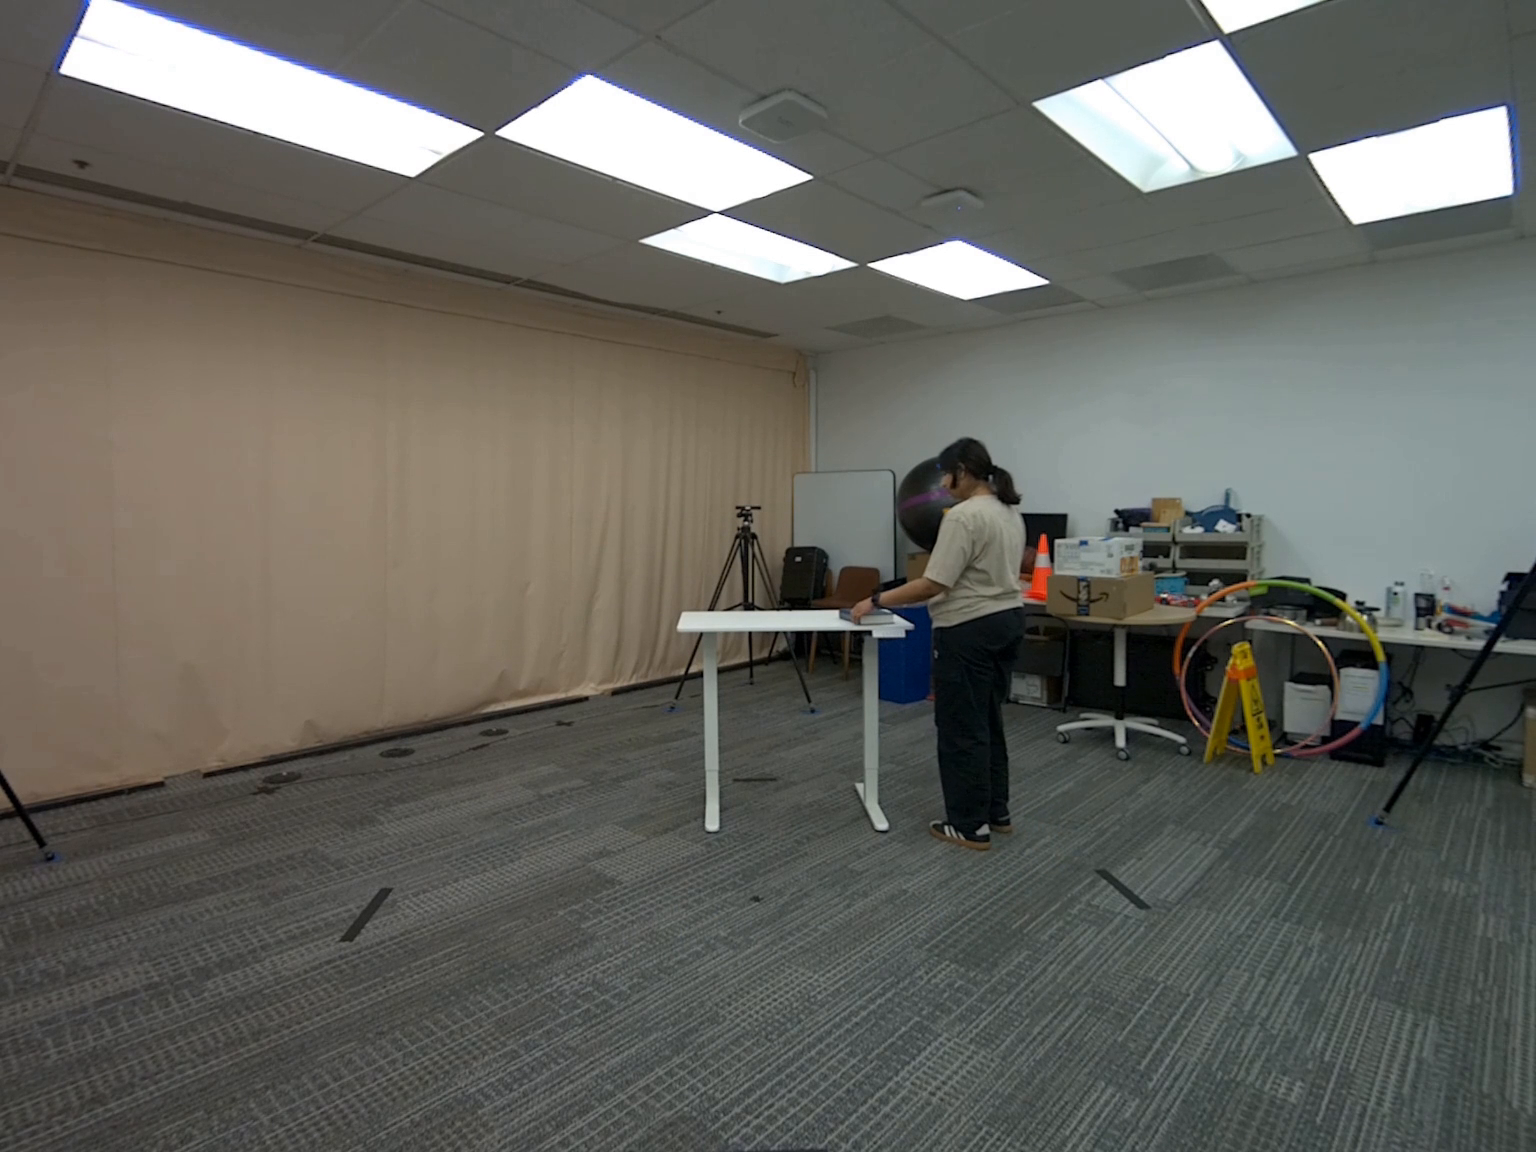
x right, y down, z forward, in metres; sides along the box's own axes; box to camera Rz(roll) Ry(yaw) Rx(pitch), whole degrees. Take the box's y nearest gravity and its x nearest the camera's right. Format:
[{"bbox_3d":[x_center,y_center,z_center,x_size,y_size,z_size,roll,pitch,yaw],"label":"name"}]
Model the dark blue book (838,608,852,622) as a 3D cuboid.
[{"bbox_3d":[0.439,0.176,3.720,0.161,0.045,0.249,-1,3,-15],"label":"dark blue book"}]
